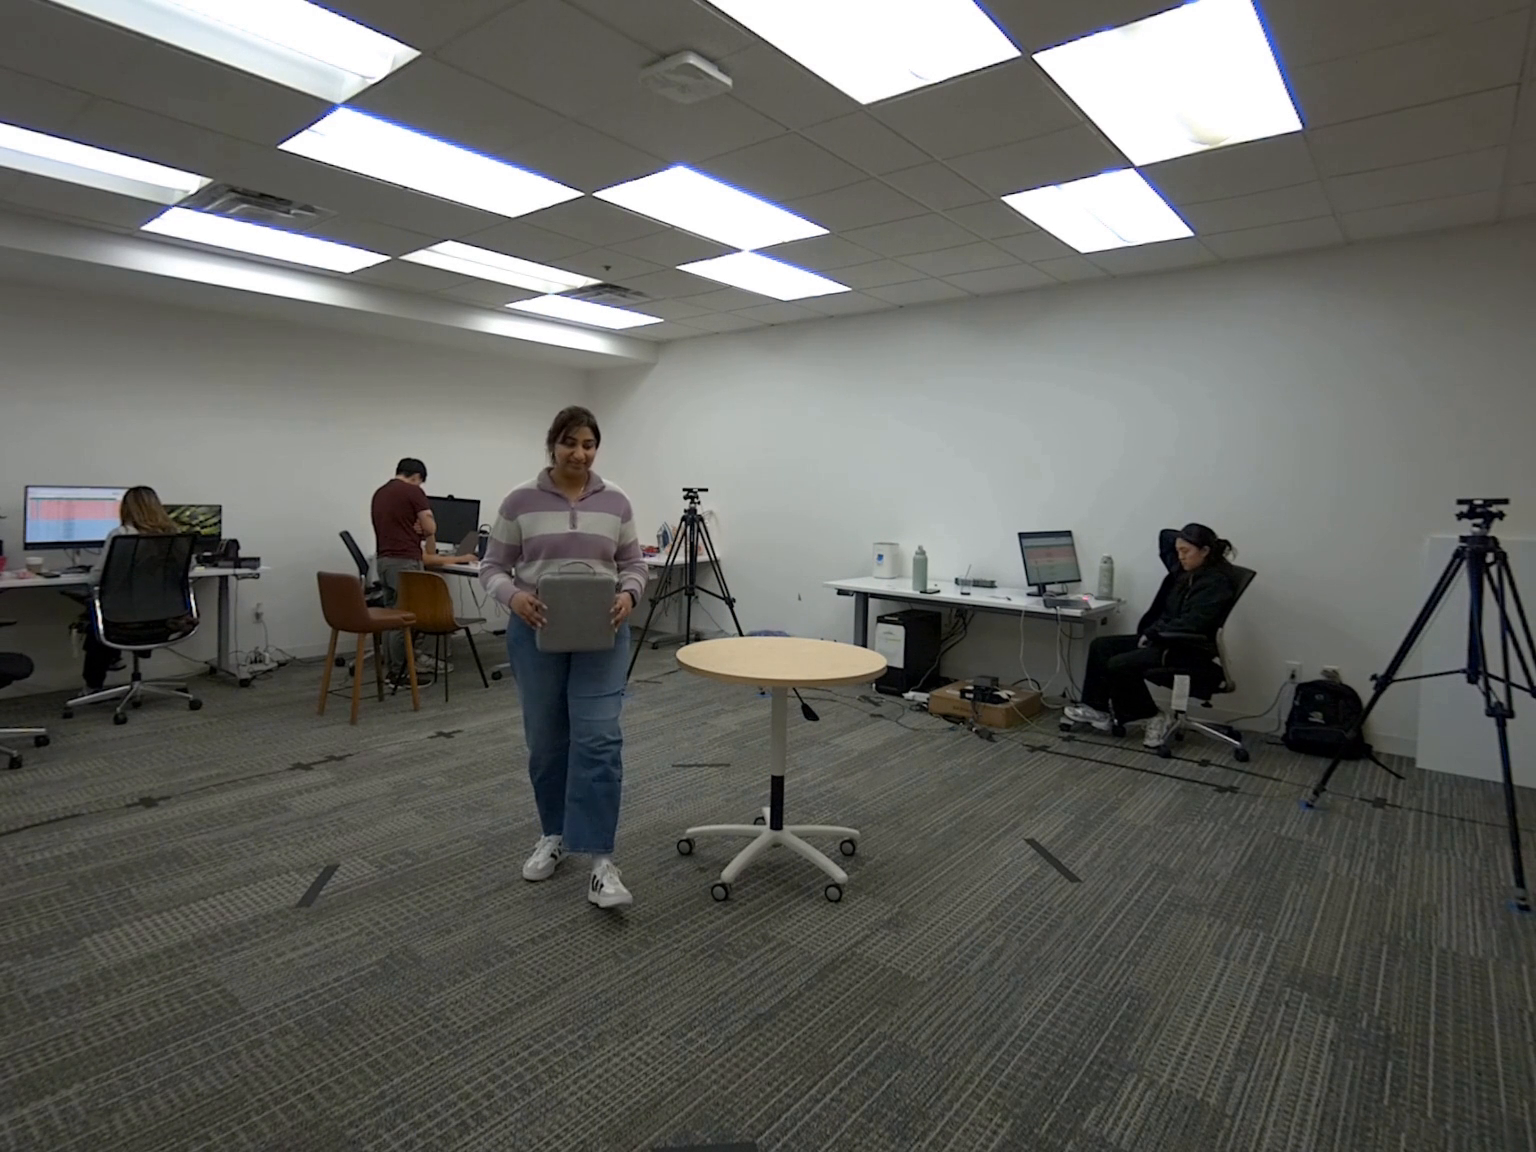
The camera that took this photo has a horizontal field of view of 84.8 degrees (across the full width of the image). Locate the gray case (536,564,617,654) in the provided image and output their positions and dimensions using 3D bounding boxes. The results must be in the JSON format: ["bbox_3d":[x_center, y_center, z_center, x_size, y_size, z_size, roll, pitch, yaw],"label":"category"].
[{"bbox_3d":[-0.644,0.112,2.771,0.253,0.259,0.106,-2,5,-13],"label":"gray case"}]
